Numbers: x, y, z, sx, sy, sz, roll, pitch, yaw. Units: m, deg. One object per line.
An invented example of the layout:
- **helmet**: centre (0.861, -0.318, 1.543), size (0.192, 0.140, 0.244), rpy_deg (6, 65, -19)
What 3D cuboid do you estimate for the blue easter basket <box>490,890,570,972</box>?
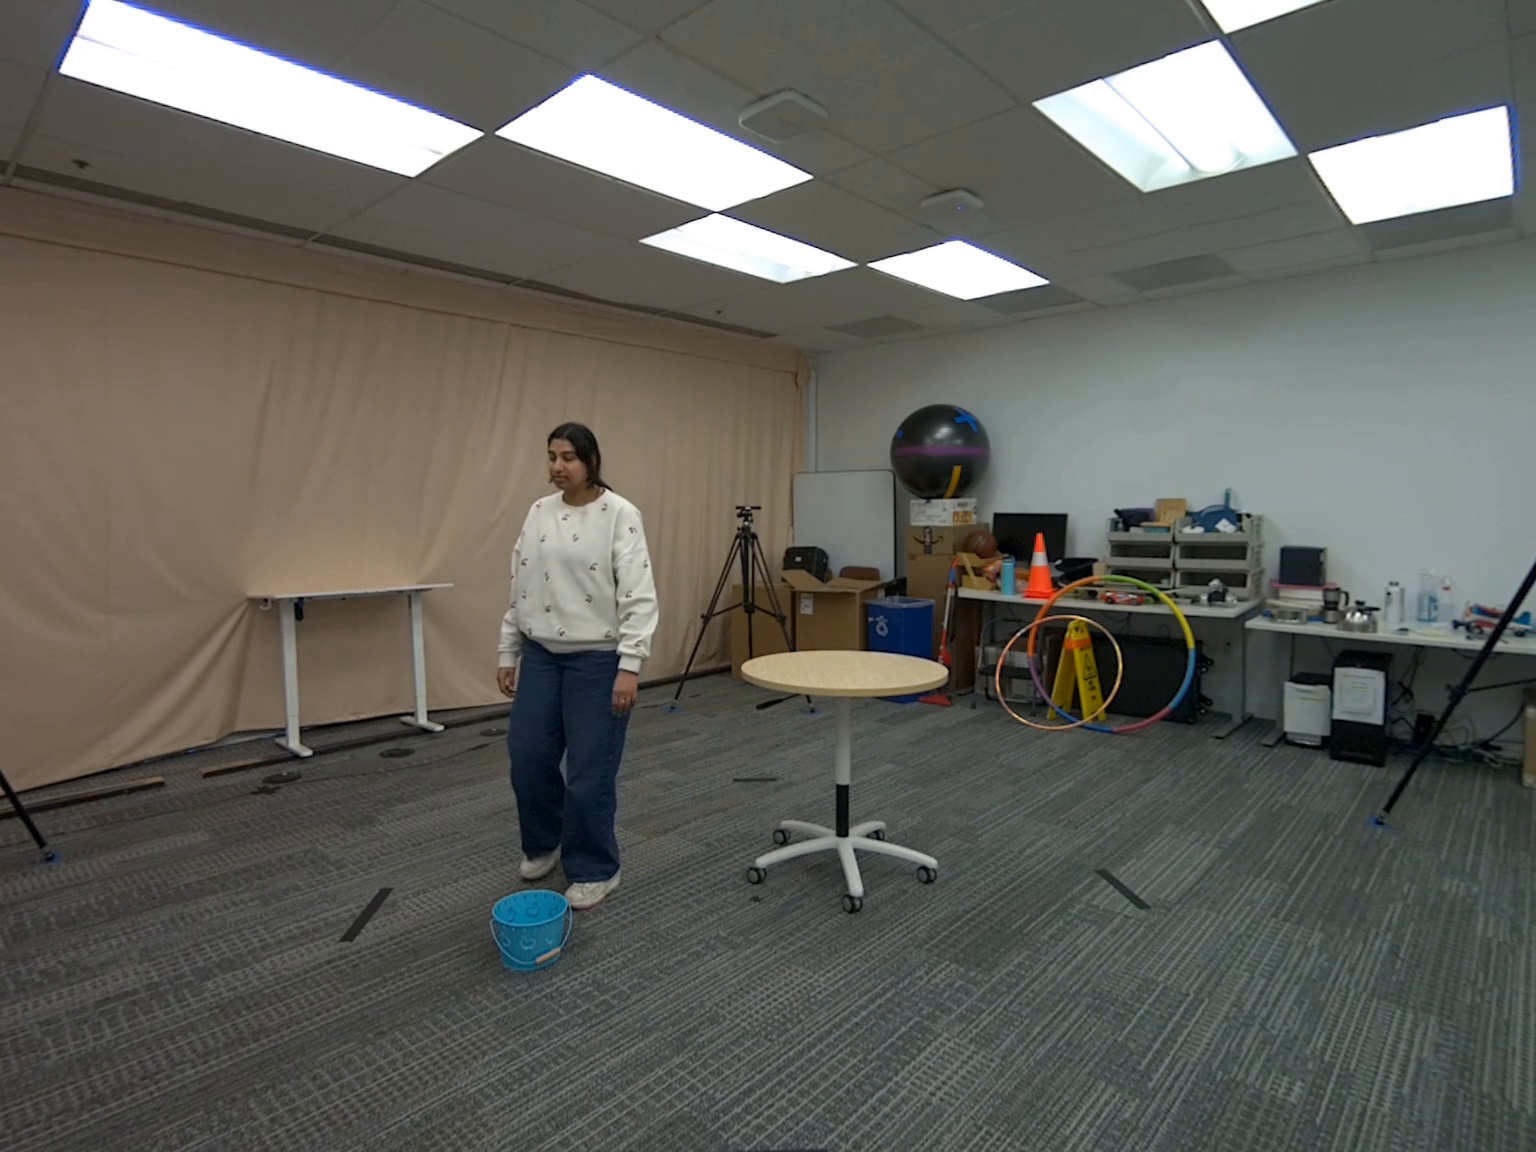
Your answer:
- **blue easter basket**: centre (-0.738, 1.098, 2.617), size (0.243, 0.155, 0.244), rpy_deg (1, 3, -2)
